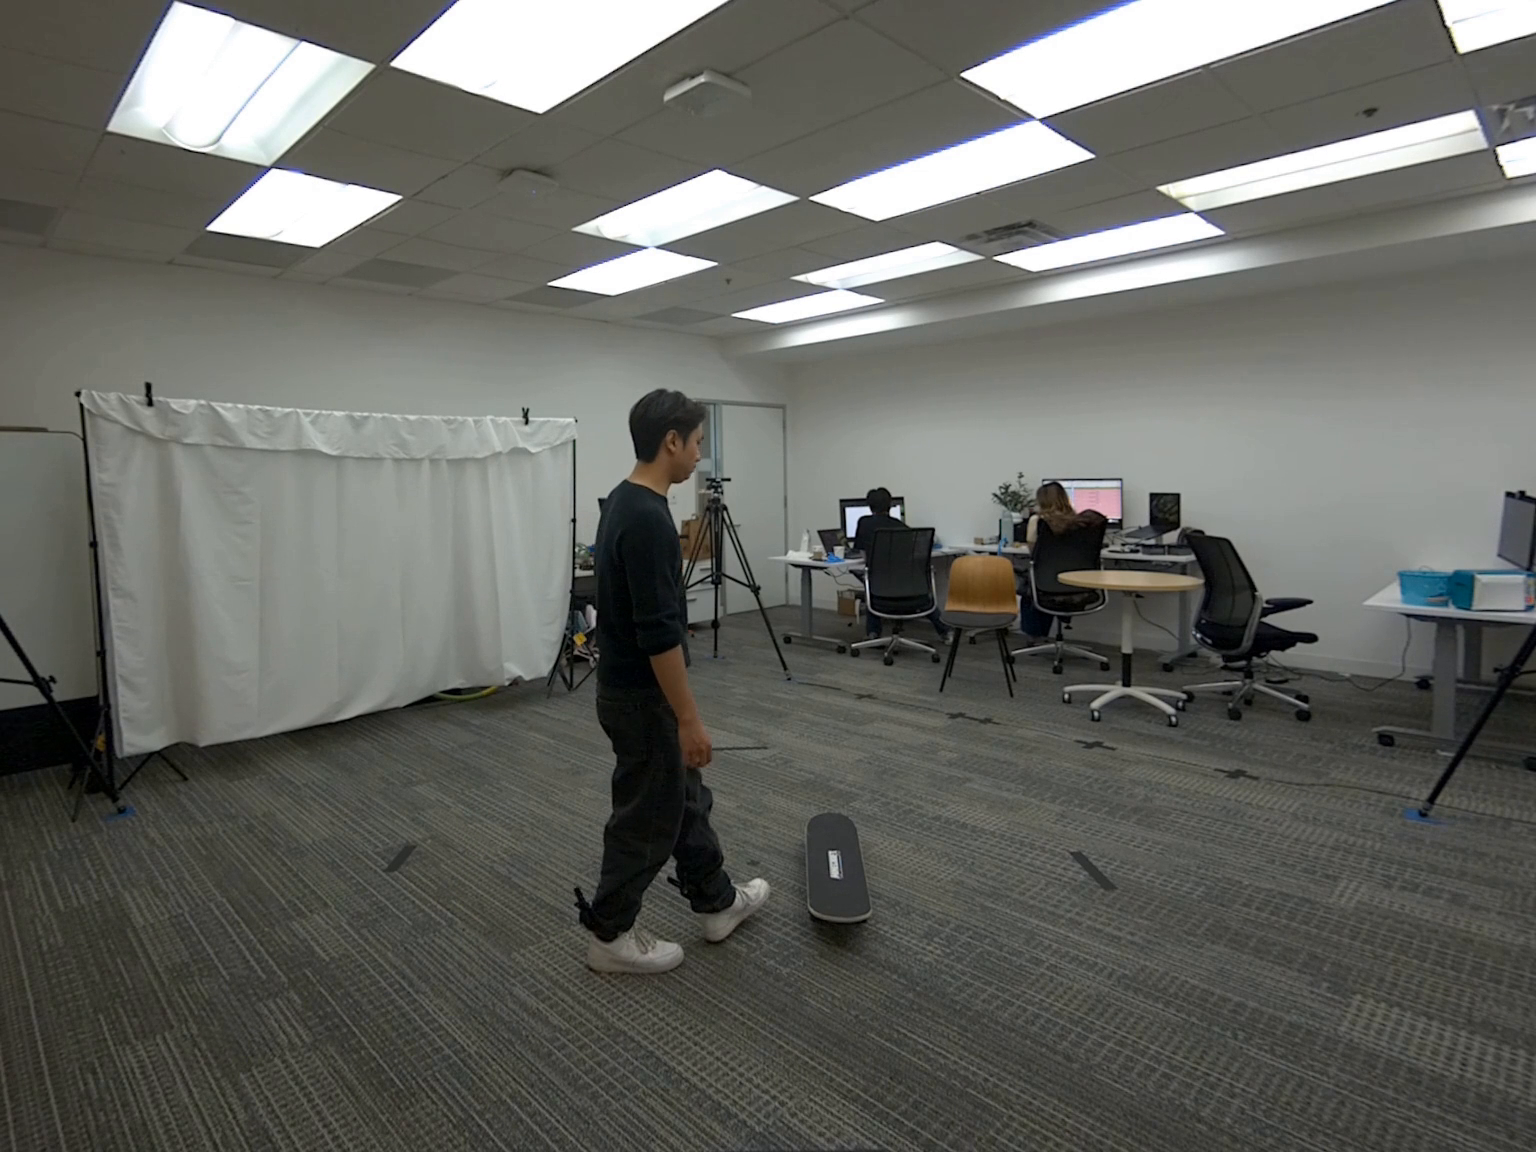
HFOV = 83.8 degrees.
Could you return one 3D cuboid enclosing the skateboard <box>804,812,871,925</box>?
[{"bbox_3d":[0.232,1.004,2.895,0.194,0.110,0.787,0,7,1],"label":"skateboard"}]
